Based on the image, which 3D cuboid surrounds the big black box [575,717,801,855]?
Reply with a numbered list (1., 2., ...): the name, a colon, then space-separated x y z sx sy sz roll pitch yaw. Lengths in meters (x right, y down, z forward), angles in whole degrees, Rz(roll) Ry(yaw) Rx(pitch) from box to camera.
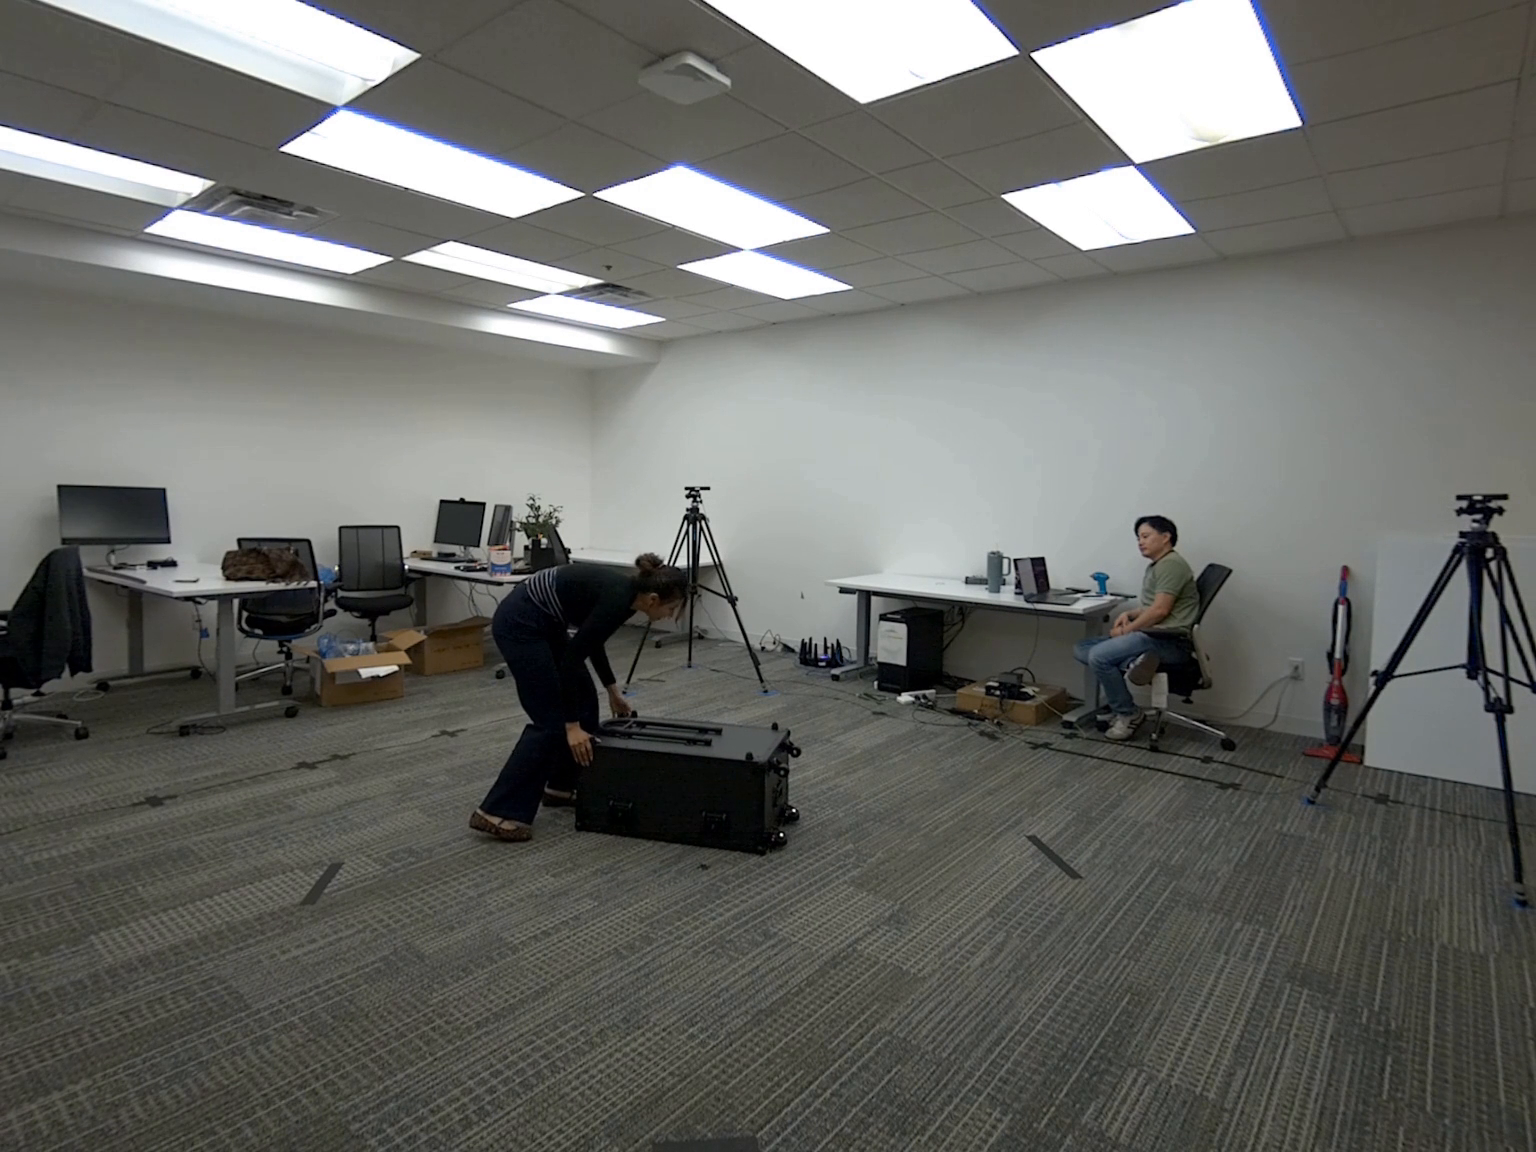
1. big black box: -0.311 0.829 3.533 0.876 0.395 0.514 3 5 15
